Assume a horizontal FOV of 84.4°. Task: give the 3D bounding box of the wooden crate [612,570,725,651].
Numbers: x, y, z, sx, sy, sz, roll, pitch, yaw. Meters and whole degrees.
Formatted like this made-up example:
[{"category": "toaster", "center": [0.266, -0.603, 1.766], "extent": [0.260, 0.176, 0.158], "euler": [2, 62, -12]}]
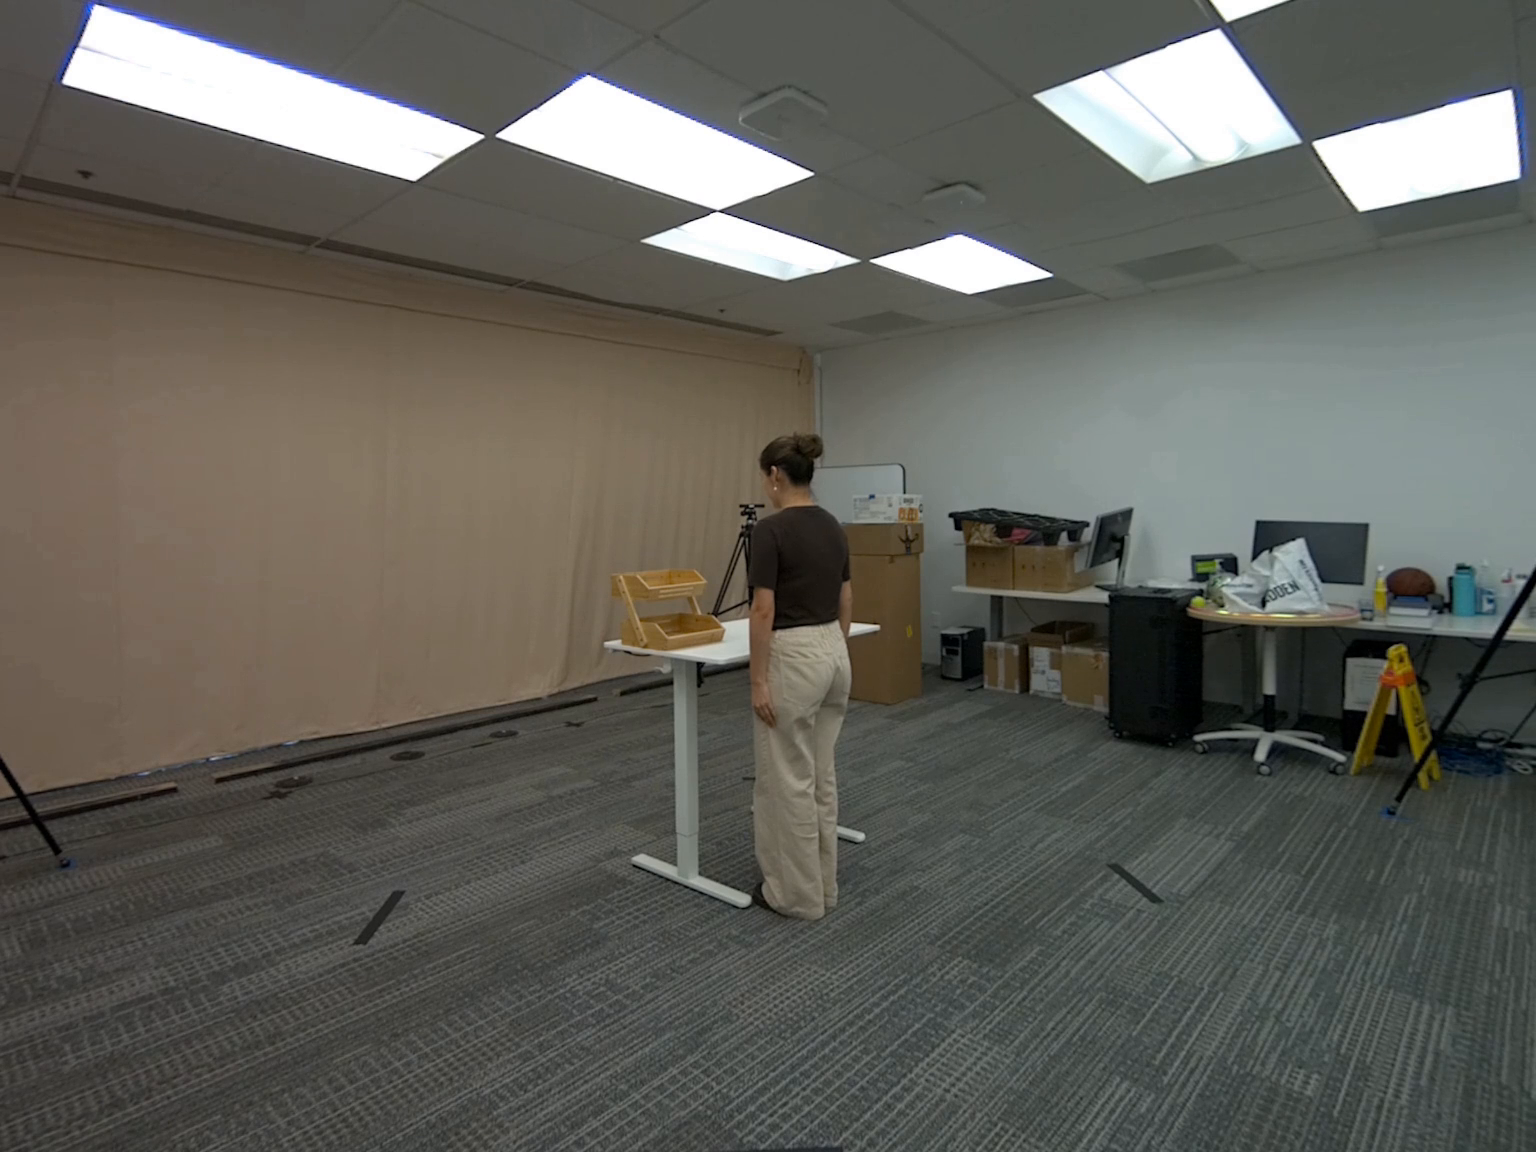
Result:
[{"category": "wooden crate", "center": [-0.368, 0.115, 3.142], "extent": [0.312, 0.273, 0.314], "euler": [1, 4, 41]}]
